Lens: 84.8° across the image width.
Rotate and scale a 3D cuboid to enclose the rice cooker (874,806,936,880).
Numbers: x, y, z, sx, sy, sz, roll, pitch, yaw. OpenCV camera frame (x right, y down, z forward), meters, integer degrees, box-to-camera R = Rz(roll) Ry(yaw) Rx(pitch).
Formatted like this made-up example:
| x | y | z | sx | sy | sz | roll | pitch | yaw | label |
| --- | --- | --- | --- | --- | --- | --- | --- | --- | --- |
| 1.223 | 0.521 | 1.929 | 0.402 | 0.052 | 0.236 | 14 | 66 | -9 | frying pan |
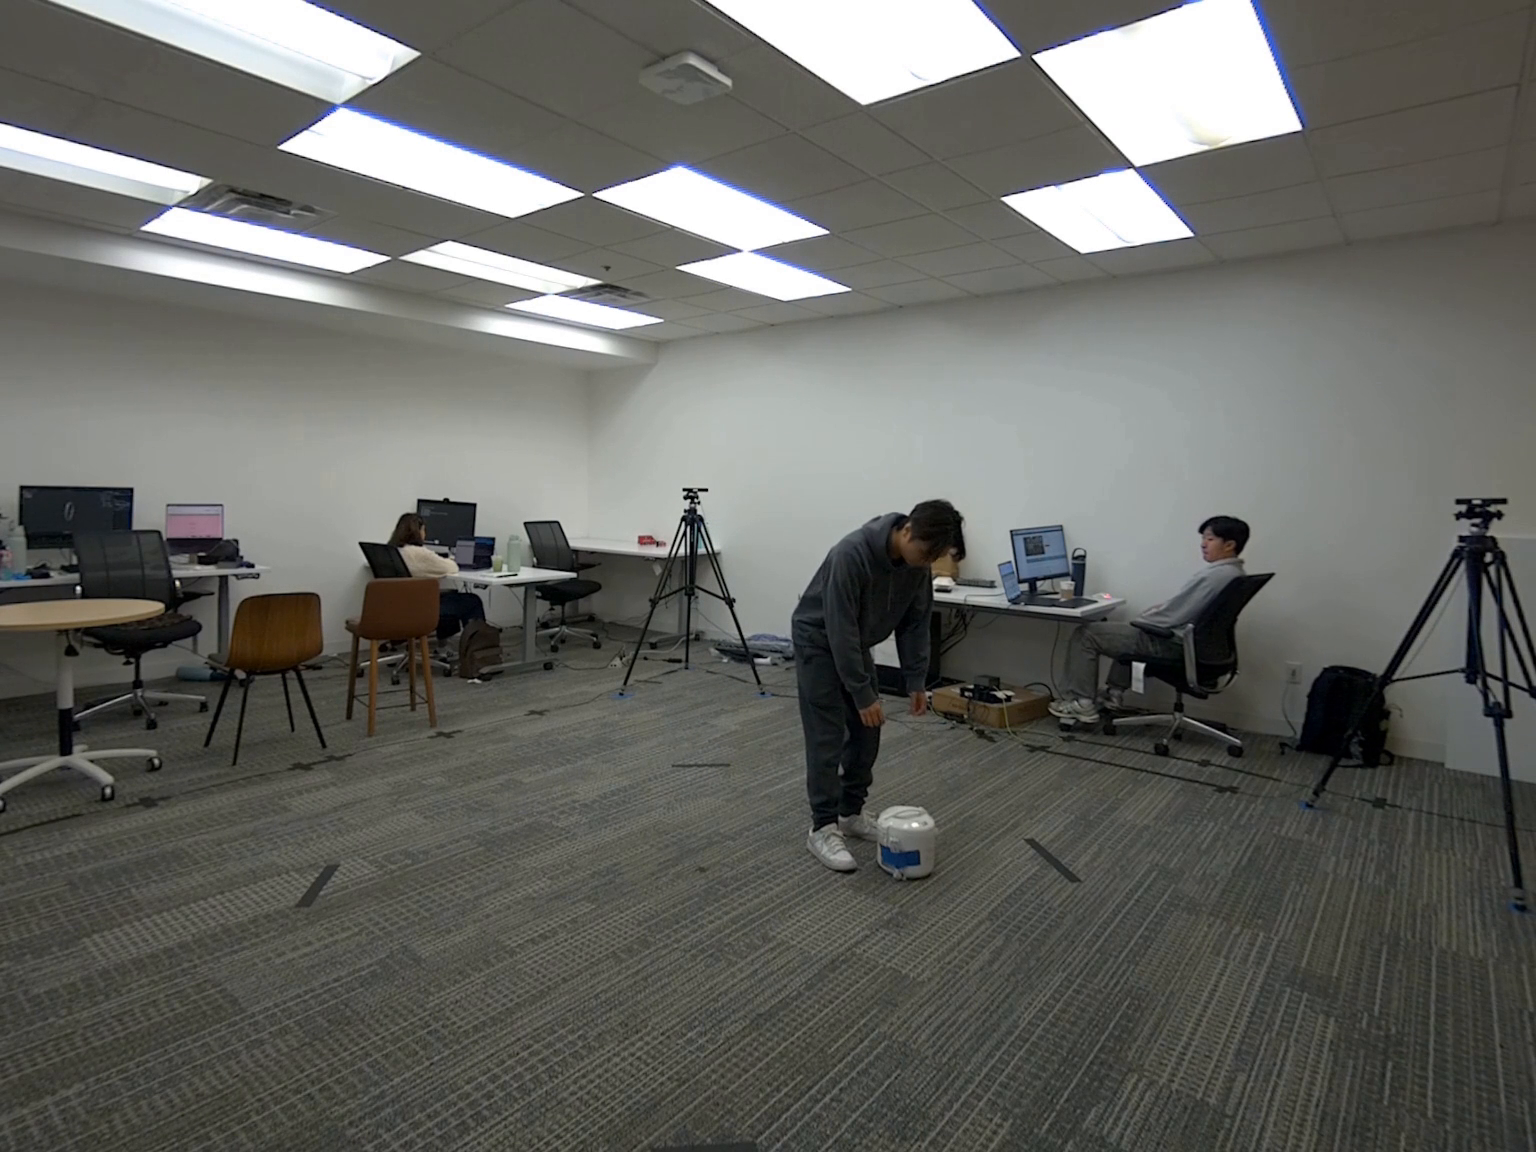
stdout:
| x | y | z | sx | sy | sz | roll | pitch | yaw | label |
| --- | --- | --- | --- | --- | --- | --- | --- | --- | --- |
| 0.501 | 0.965 | 3.152 | 0.216 | 0.232 | 0.223 | -1 | 6 | -20 | rice cooker |
